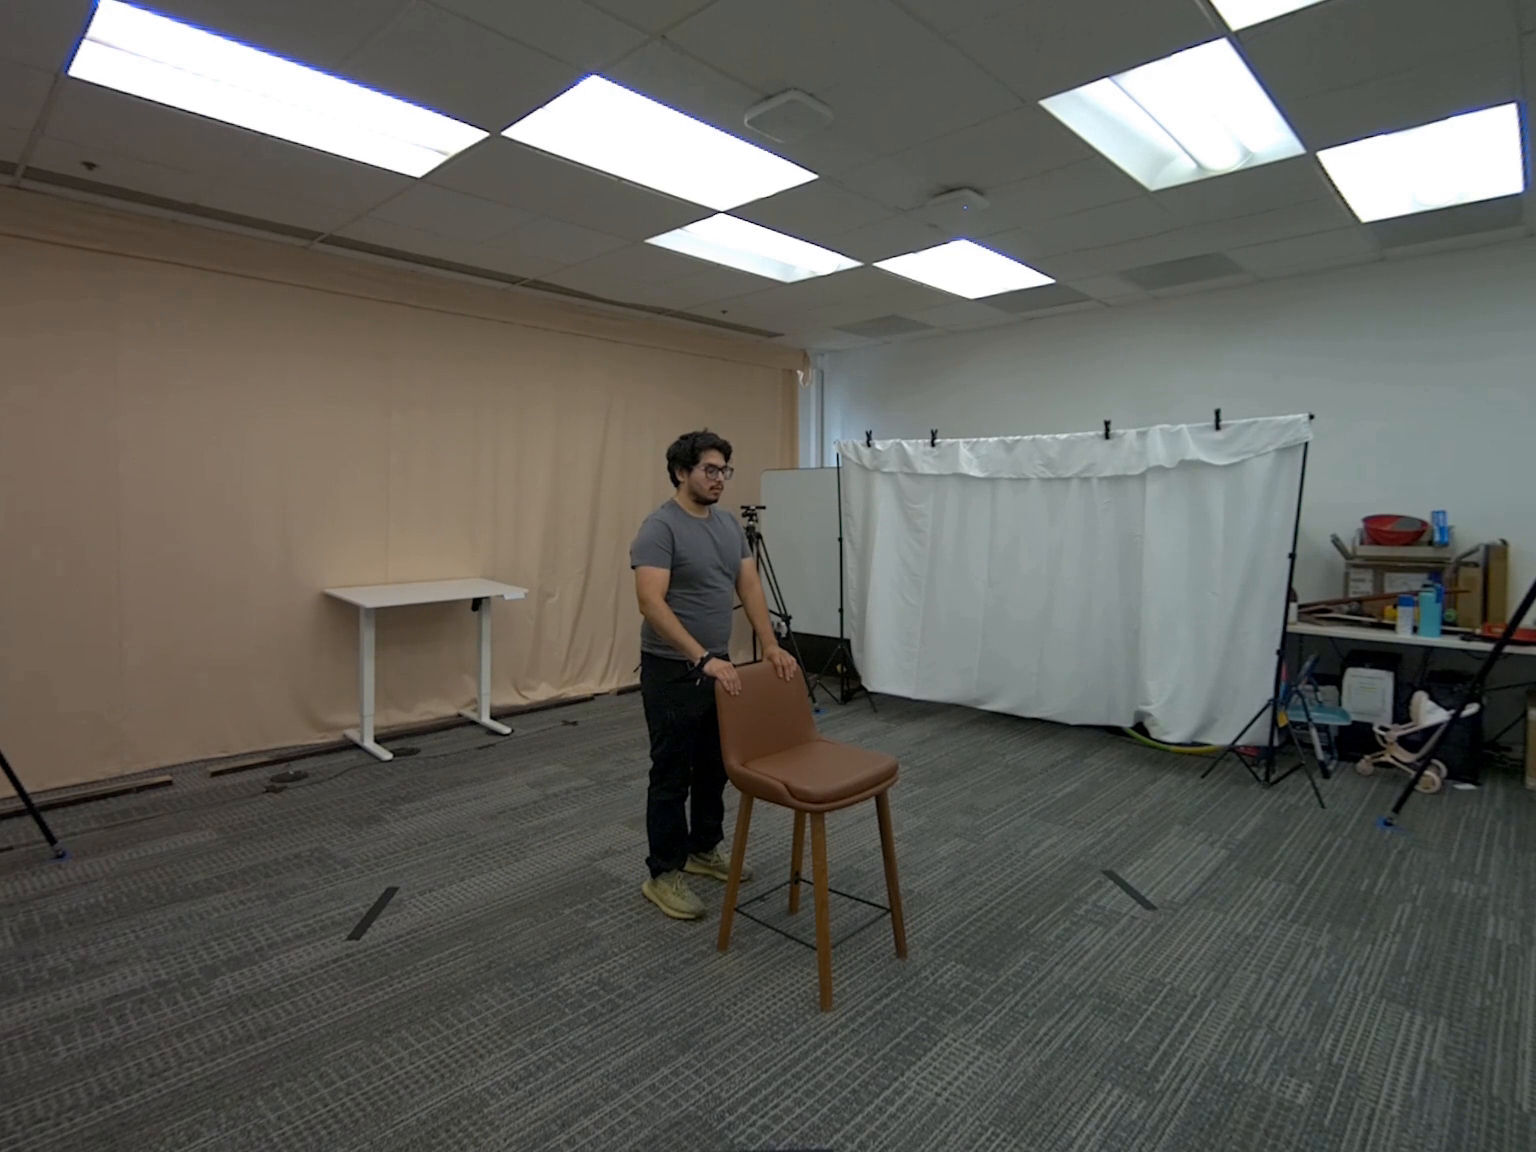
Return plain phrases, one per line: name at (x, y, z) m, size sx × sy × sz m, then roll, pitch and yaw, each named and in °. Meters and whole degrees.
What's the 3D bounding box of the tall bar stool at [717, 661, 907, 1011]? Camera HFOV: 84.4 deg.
tall bar stool at (0.126, 0.739, 2.597) m, size 0.483 × 0.888 × 0.442 m, roll 1°, pitch 3°, yaw 44°
